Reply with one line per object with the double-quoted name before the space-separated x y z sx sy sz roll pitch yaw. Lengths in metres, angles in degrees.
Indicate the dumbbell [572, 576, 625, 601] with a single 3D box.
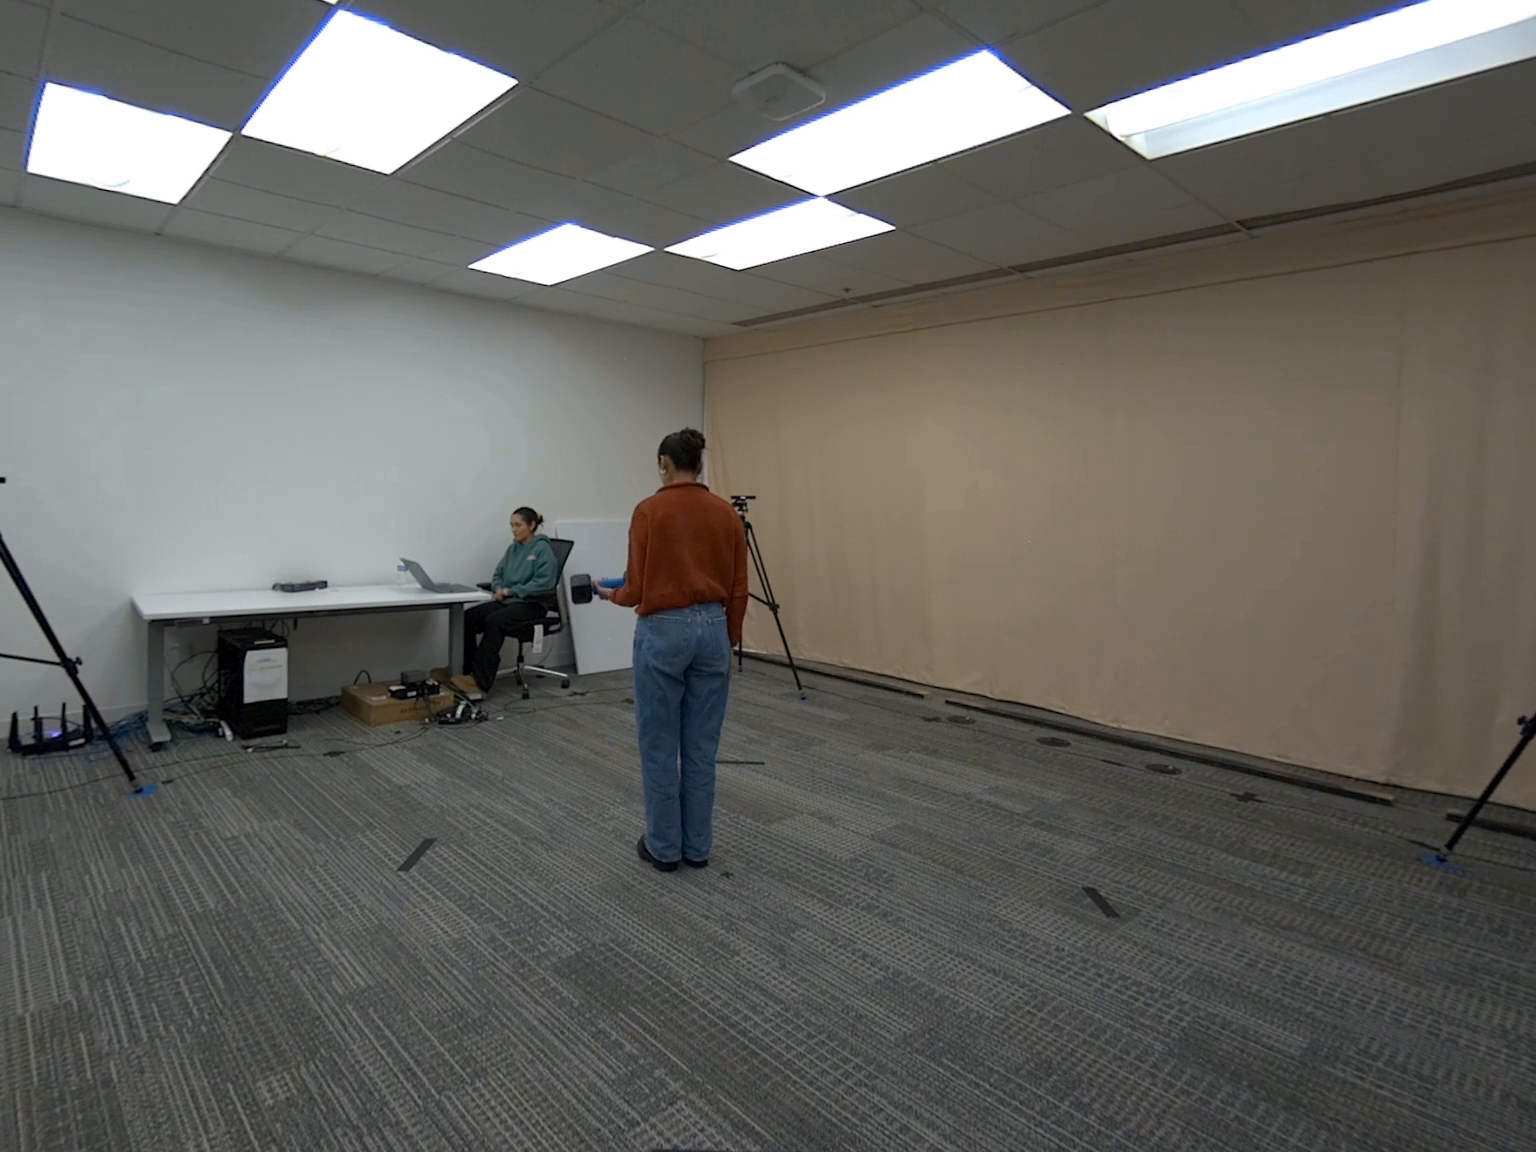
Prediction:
"dumbbell" -0.630 0.046 3.332 0.291 0.106 0.126 -6 46 -11
